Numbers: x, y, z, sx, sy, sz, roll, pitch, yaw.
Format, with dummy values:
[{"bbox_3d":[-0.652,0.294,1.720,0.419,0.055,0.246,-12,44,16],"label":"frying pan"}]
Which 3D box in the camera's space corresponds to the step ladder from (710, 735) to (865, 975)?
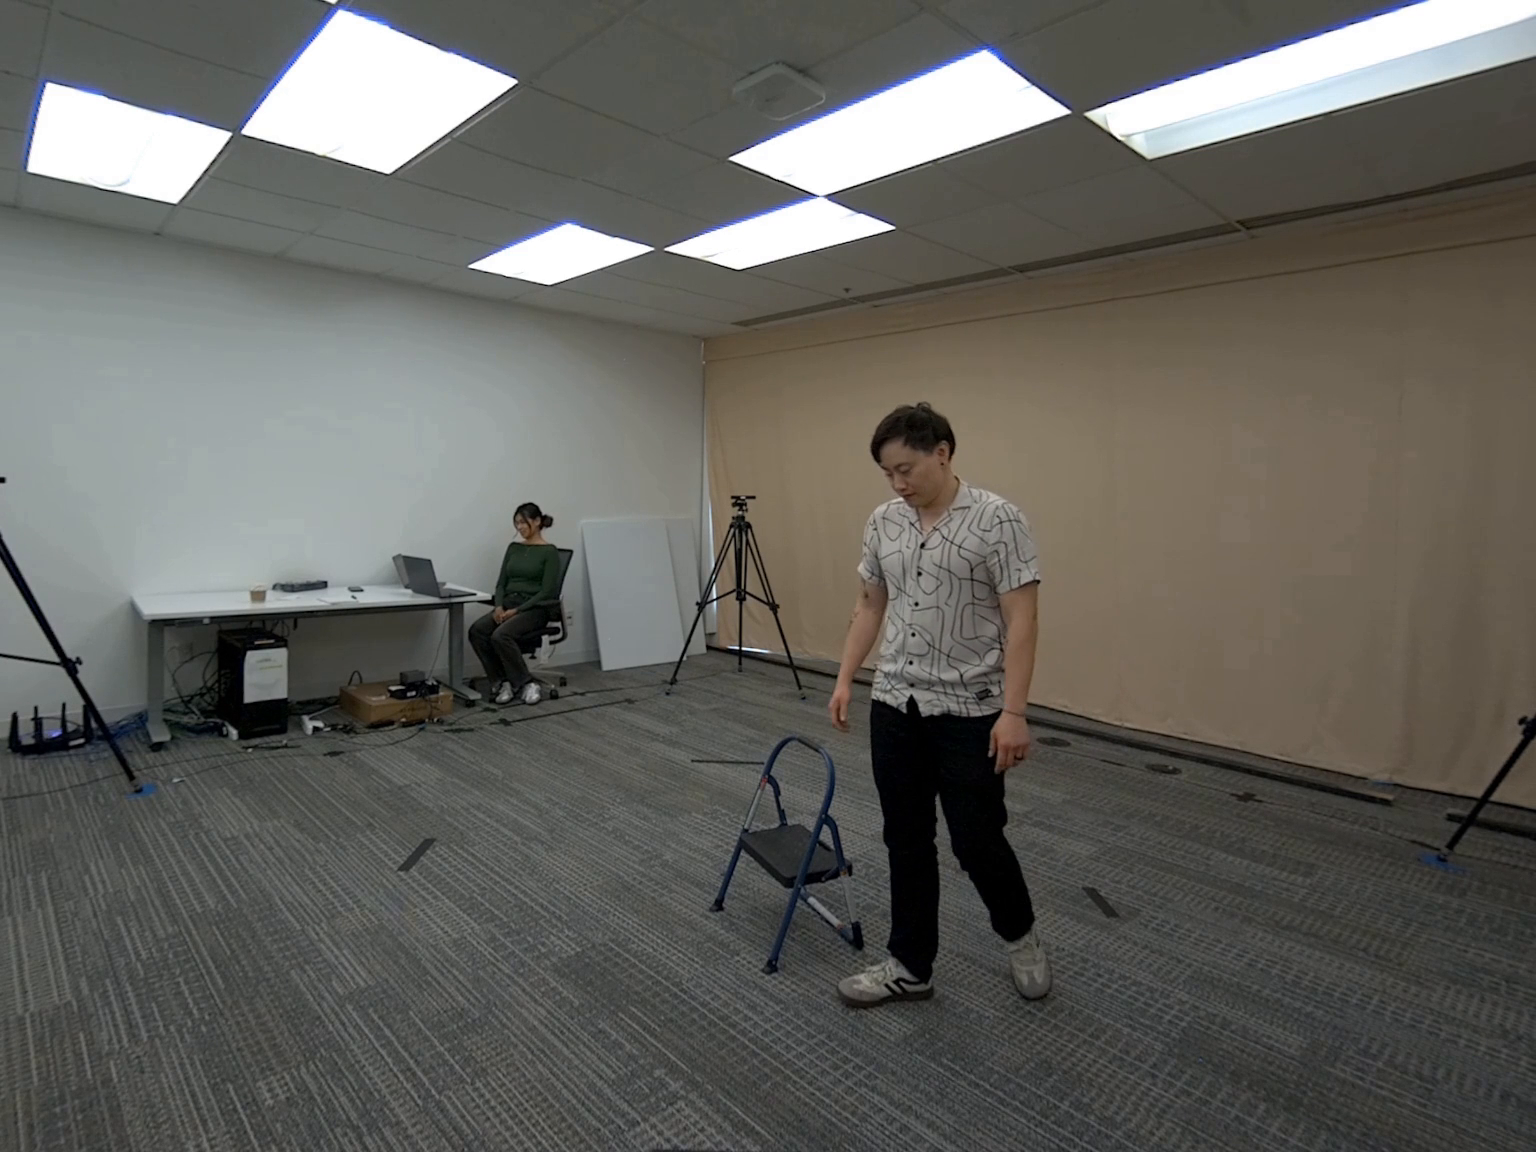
[{"bbox_3d":[0.055,0.840,2.703,0.343,0.604,0.440,-1,5,-26],"label":"step ladder"}]
